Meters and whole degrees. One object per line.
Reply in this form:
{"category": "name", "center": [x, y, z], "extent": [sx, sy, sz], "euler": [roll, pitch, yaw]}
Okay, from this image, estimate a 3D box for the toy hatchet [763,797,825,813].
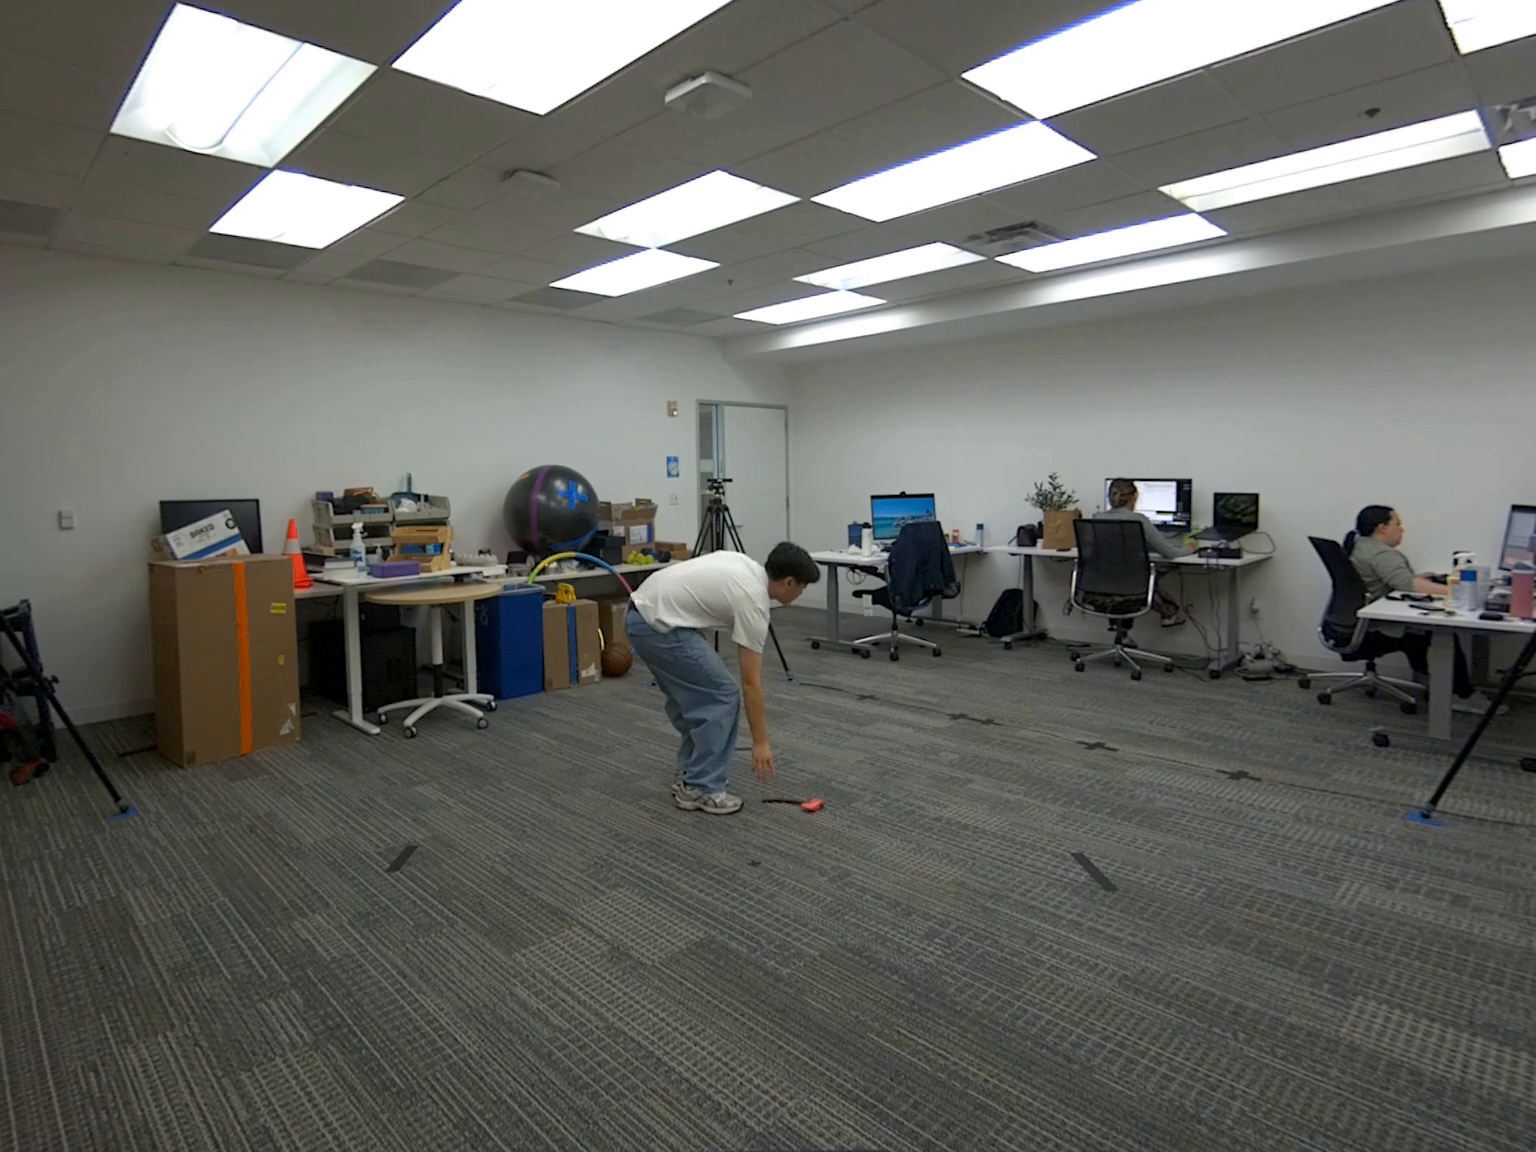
{"category": "toy hatchet", "center": [0.103, 0.967, 3.635], "extent": [0.272, 0.029, 0.130], "euler": [-3, 6, 9]}
